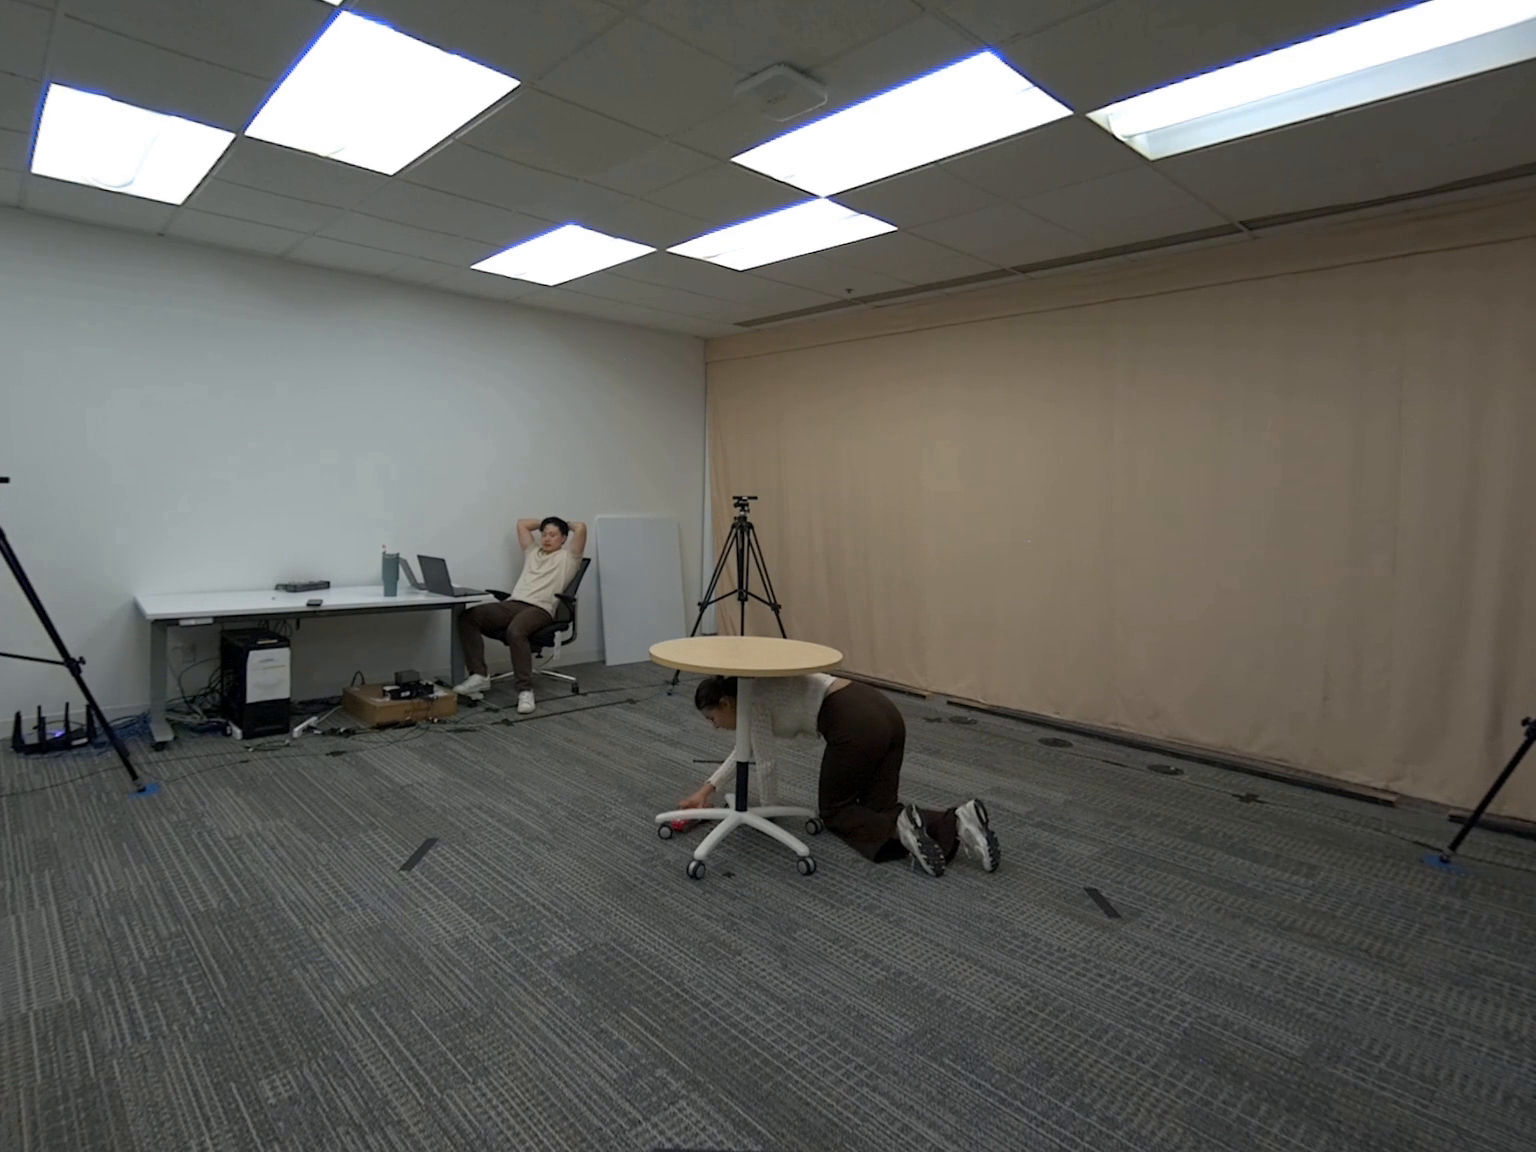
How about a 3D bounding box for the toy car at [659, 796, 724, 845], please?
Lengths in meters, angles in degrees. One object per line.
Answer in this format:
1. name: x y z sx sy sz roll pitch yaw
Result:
1. toy car: -0.325 1.023 3.590 0.133 0.082 0.251 3 15 36
